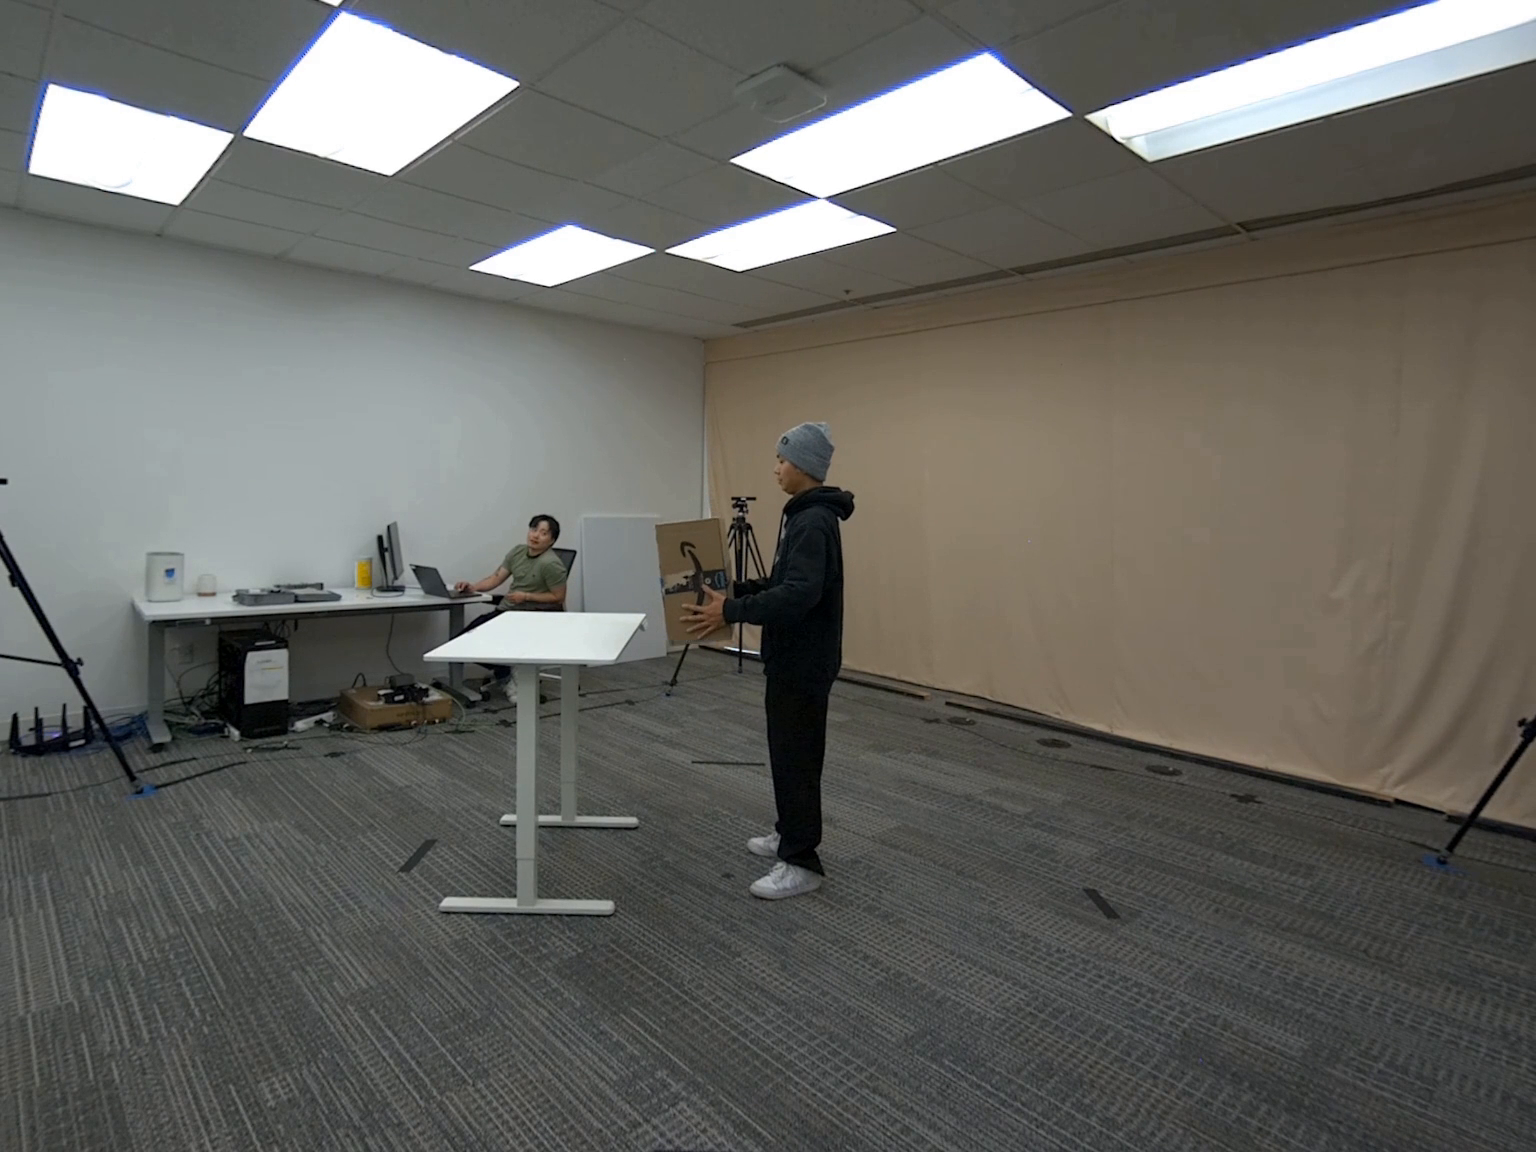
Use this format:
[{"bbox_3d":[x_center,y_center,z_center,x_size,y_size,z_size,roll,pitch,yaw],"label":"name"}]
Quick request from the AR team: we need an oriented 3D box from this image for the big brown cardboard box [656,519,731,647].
[{"bbox_3d":[-0.256,0.000,3.098,0.233,0.417,0.590,-7,3,-1],"label":"big brown cardboard box"}]
